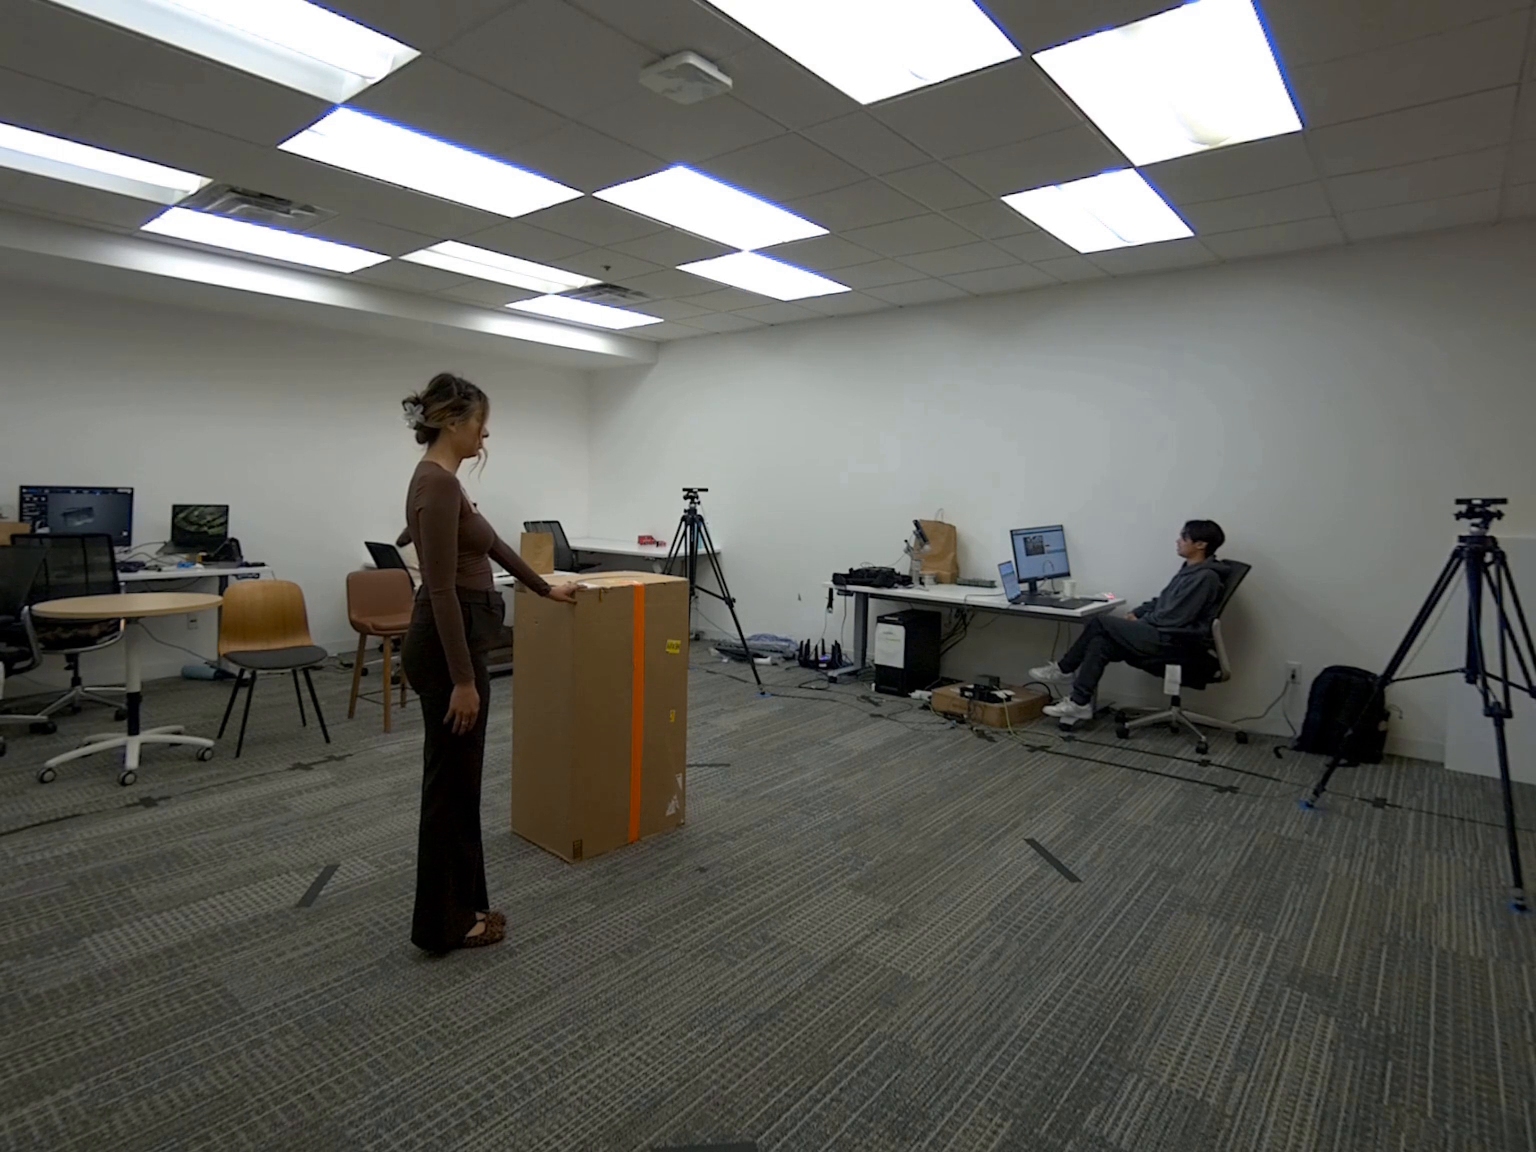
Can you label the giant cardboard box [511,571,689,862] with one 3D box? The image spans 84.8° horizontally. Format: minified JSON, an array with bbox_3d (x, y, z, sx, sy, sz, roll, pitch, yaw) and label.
[{"bbox_3d":[-0.689,0.518,3.454,0.462,1.024,0.566,5,5,45],"label":"giant cardboard box"}]
